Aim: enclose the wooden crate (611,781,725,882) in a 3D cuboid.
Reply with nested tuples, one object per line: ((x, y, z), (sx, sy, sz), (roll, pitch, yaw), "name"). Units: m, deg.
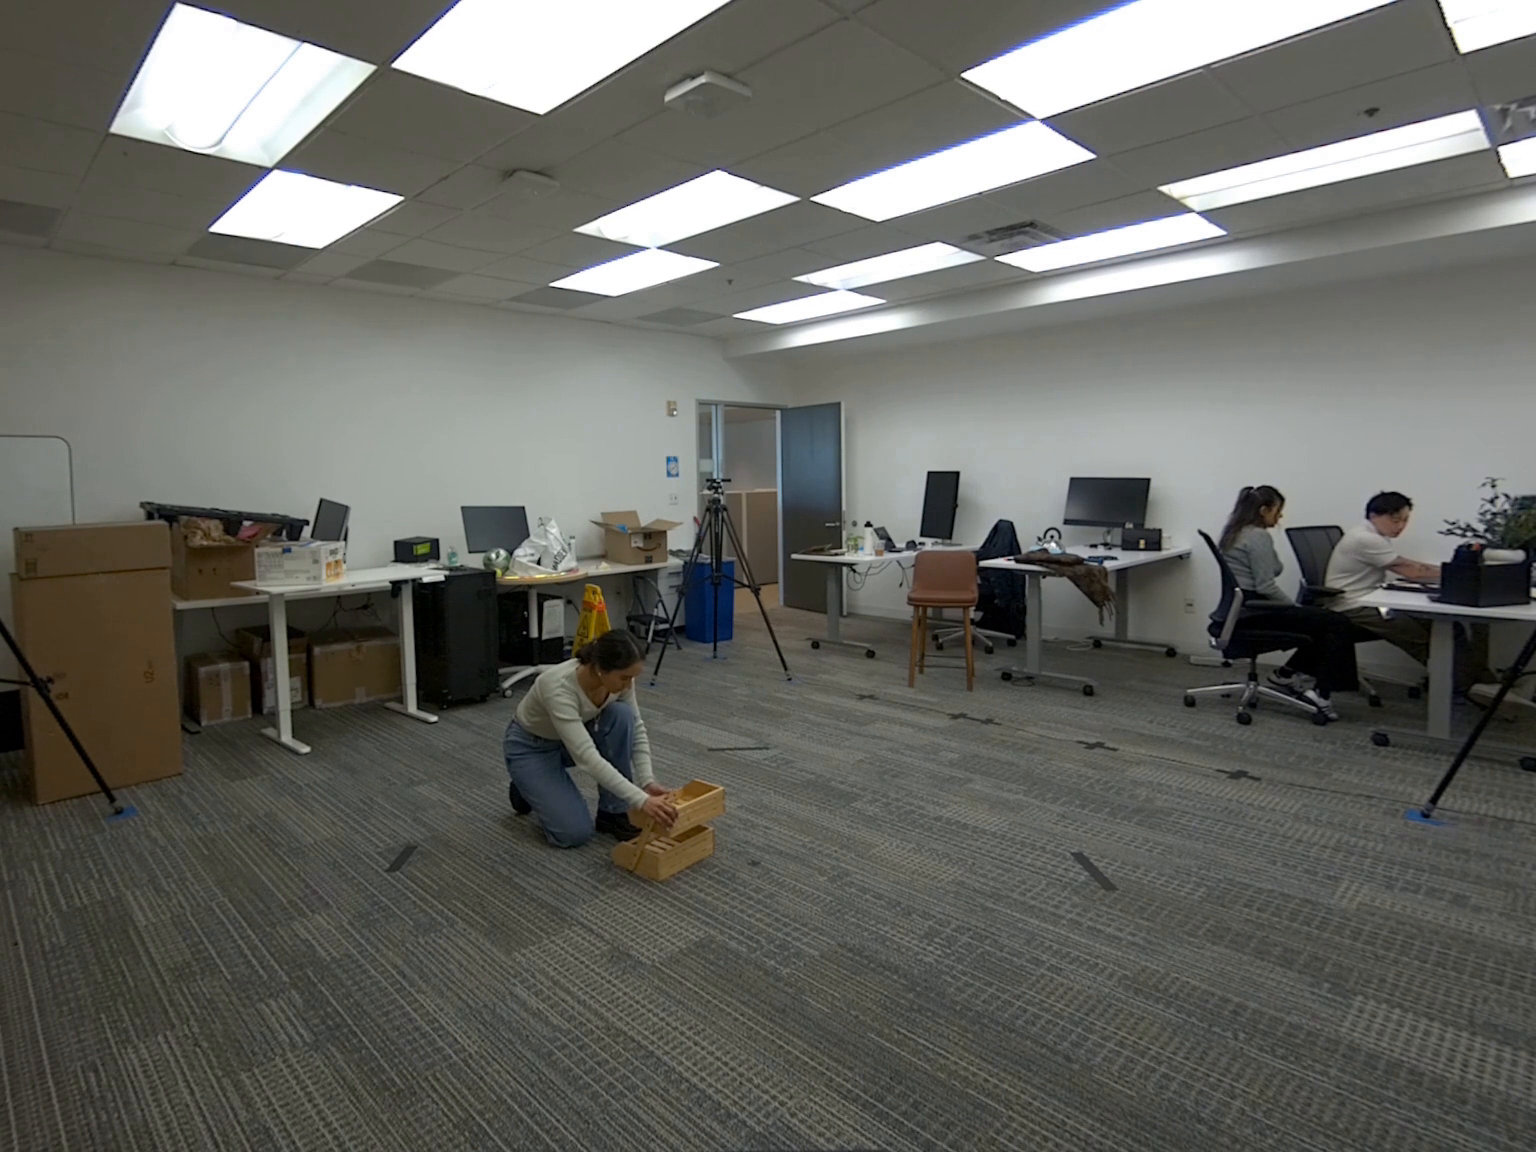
((-0.366, 0.913, 3.140), (0.311, 0.272, 0.316), (5, 7, 38), "wooden crate")
